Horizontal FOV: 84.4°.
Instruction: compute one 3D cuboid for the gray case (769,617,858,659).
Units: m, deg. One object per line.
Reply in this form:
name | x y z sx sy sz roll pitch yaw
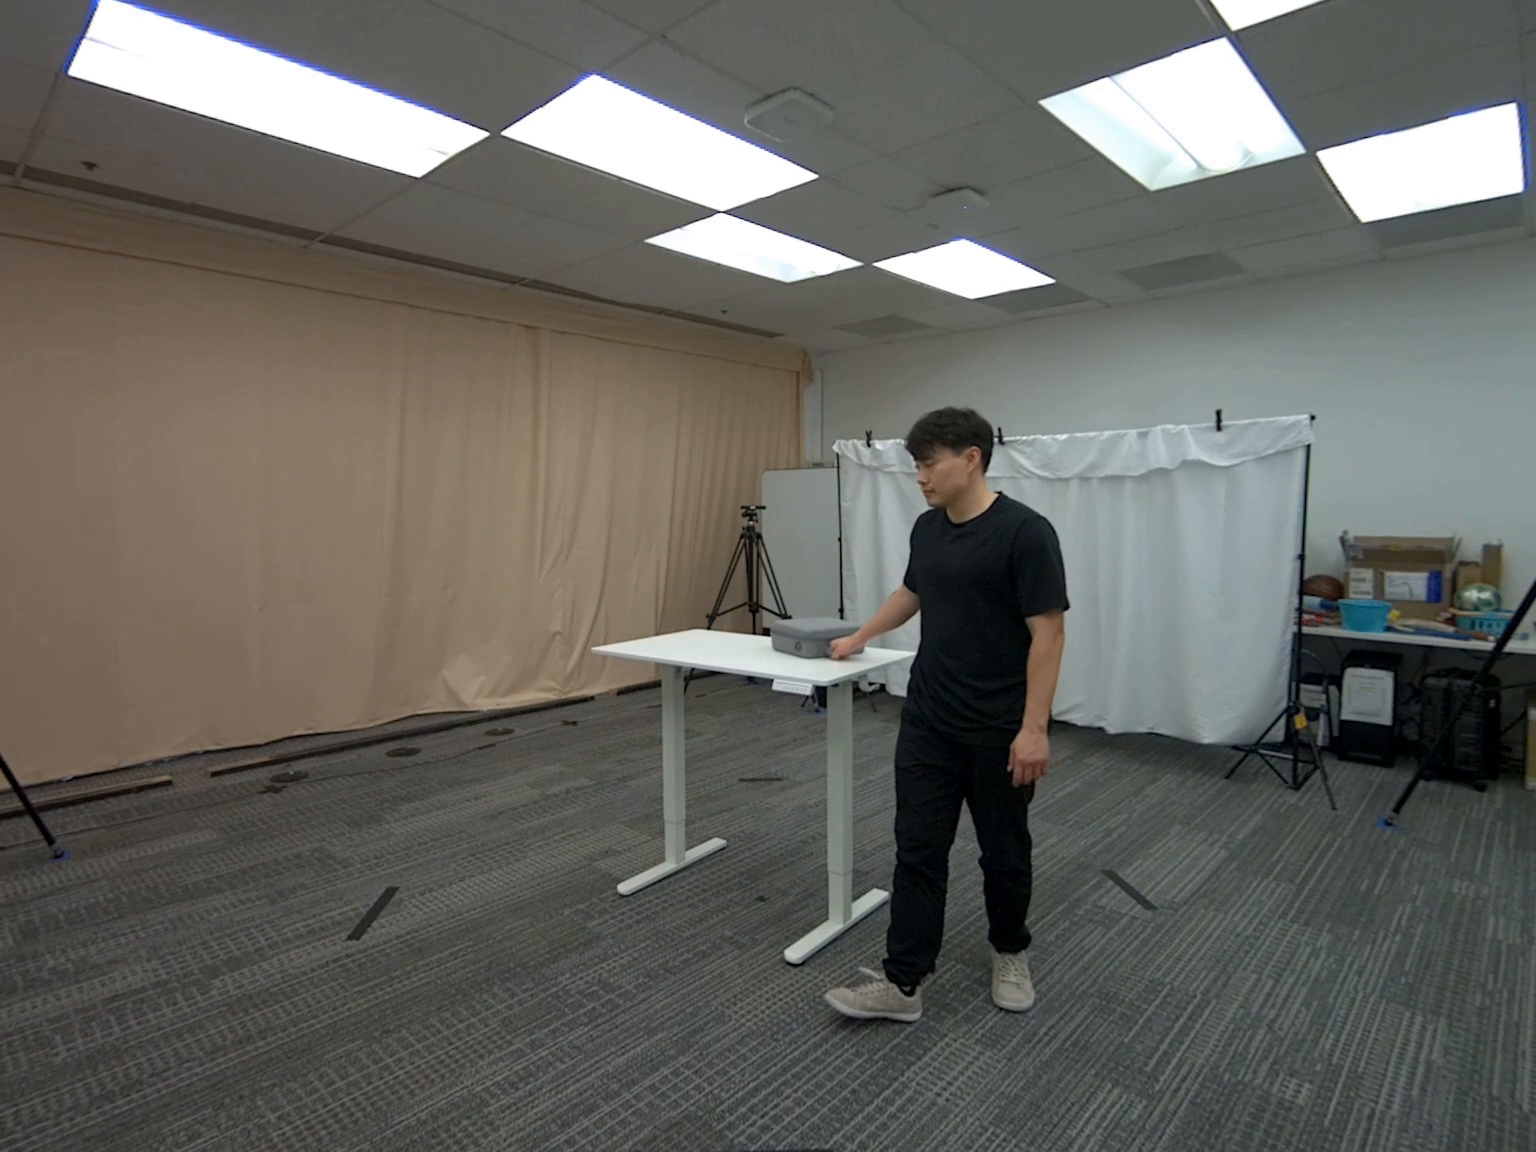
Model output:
gray case | 0.179 0.211 2.927 0.250 0.104 0.268 -1 5 -28
